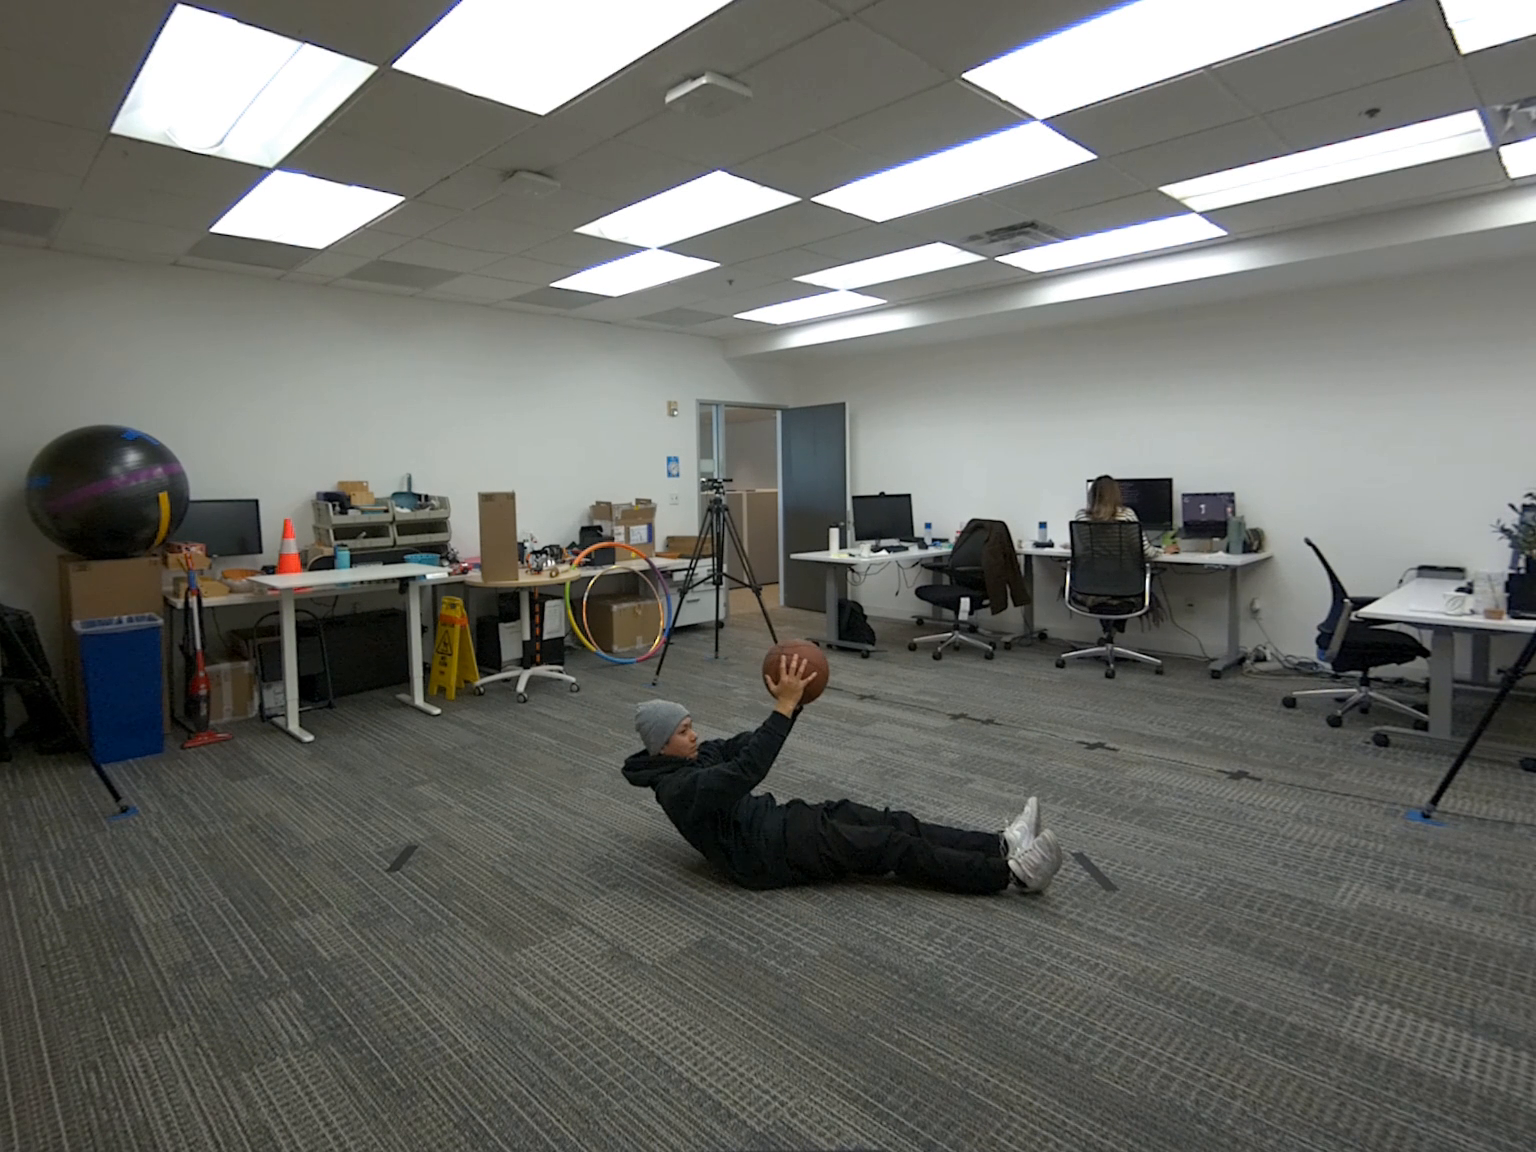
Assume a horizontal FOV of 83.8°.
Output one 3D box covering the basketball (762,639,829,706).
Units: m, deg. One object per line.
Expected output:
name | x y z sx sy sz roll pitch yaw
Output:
basketball | 0.097 0.343 3.049 0.236 0.235 0.237 -1 5 -2
